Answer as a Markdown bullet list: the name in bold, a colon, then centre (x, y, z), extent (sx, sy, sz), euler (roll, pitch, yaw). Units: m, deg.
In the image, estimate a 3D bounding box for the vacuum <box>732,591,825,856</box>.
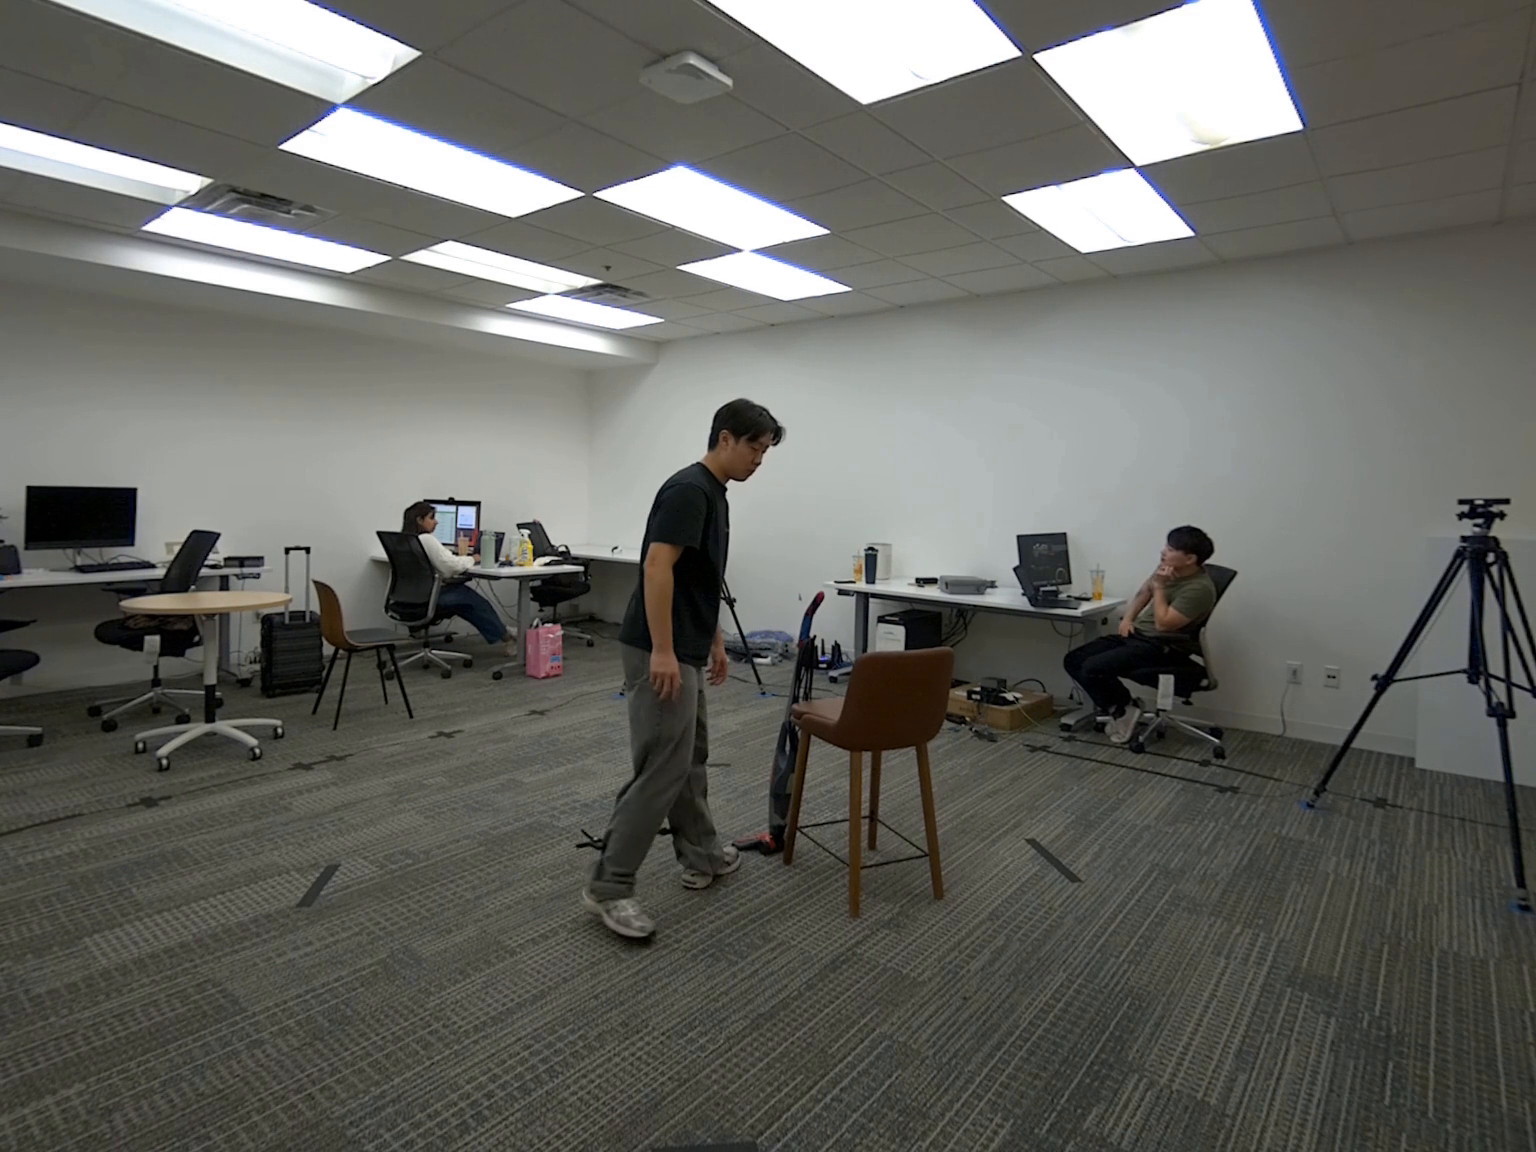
- **vacuum**: centre (0.089, 0.558, 3.193), extent (0.245, 1.039, 0.150), euler (-1, 17, -42)
